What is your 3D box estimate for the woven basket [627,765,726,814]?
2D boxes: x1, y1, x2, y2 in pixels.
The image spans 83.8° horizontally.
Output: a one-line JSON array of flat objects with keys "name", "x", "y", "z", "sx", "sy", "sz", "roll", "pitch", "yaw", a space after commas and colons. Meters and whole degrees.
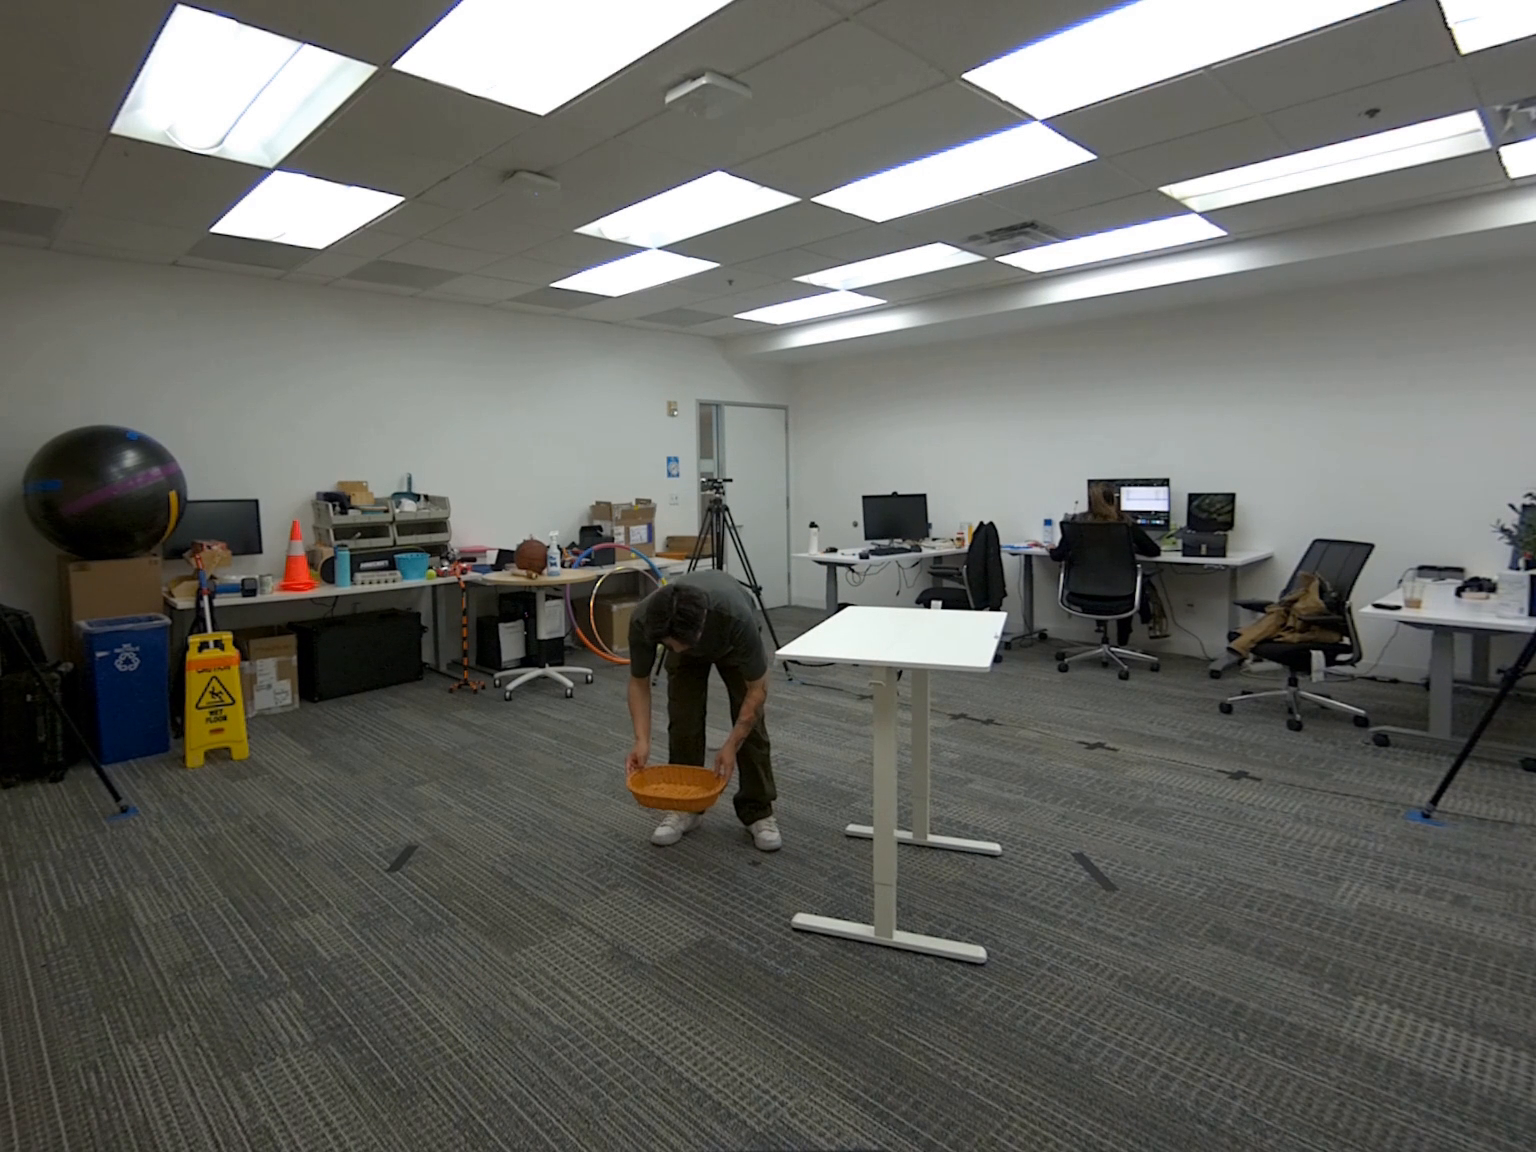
[{"name": "woven basket", "x": -0.323, "y": 0.736, "z": 2.935, "sx": 0.357, "sy": 0.073, "sz": 0.250, "roll": 2, "pitch": 11, "yaw": 20}]
